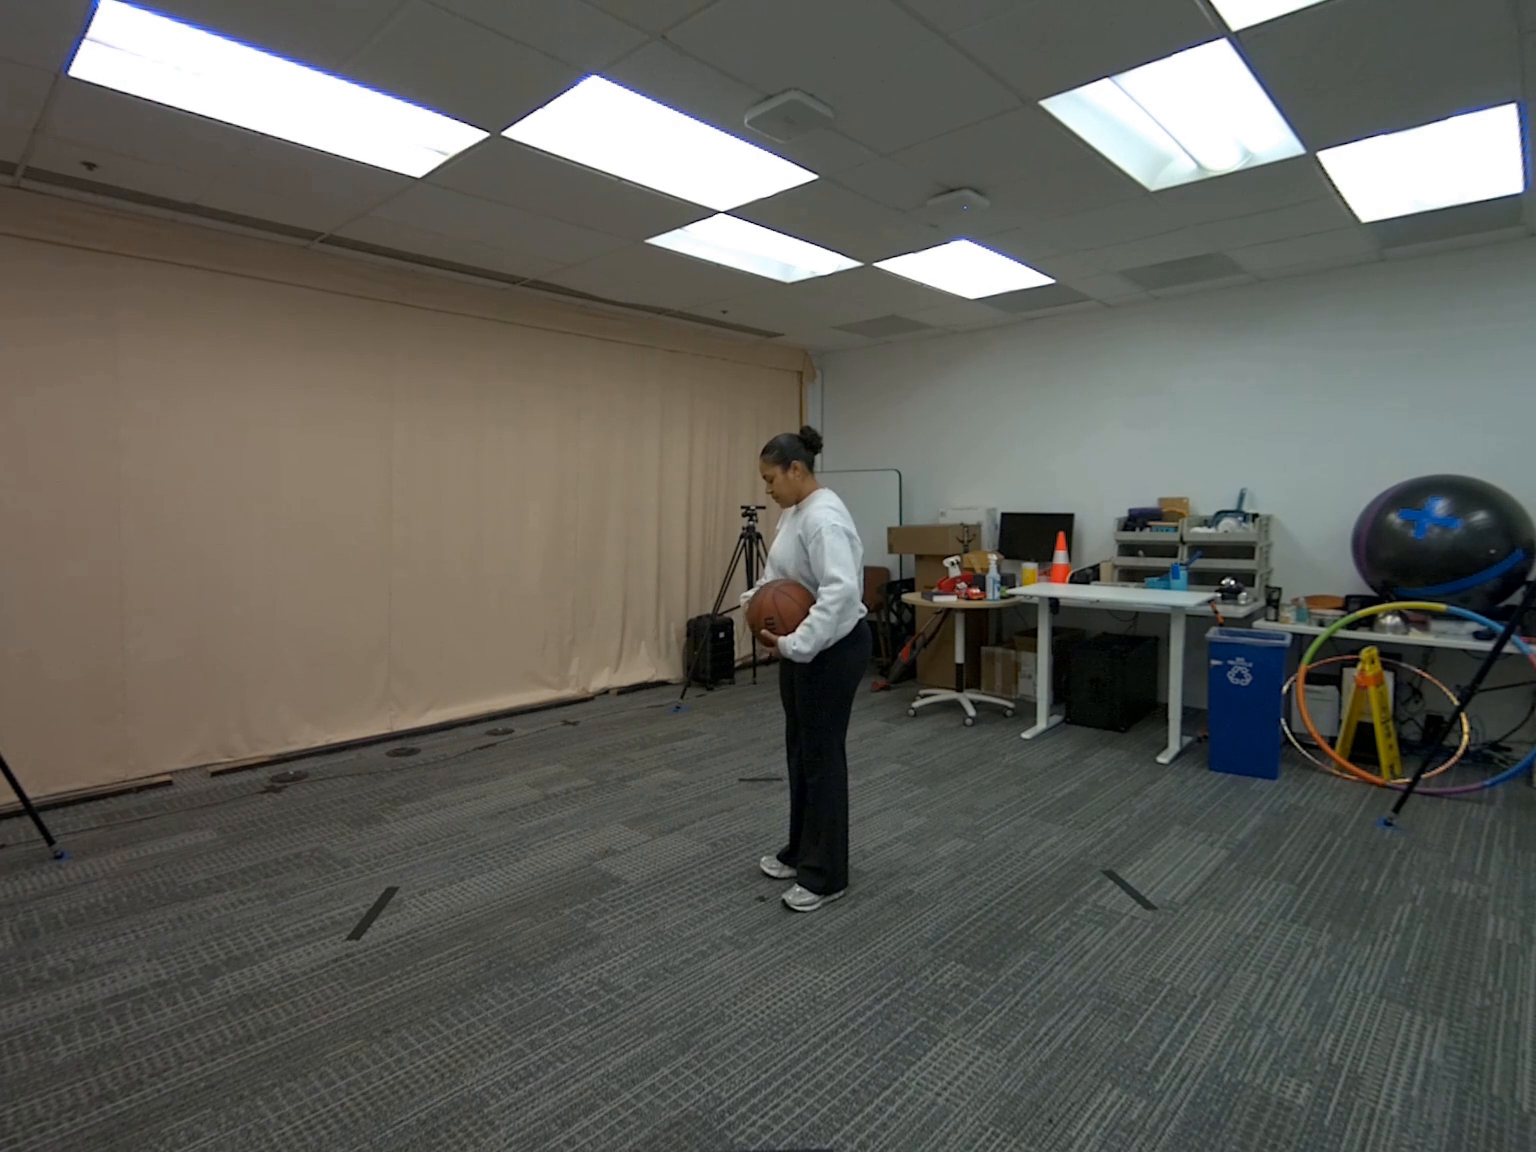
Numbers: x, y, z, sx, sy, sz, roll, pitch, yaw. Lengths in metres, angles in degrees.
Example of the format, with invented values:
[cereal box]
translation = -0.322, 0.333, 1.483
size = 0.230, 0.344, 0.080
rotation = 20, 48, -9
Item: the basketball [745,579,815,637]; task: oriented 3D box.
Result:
[basketball]
translation = 0.051, 0.132, 2.797
size = 0.236, 0.235, 0.237
rotation = 0, 4, -2
